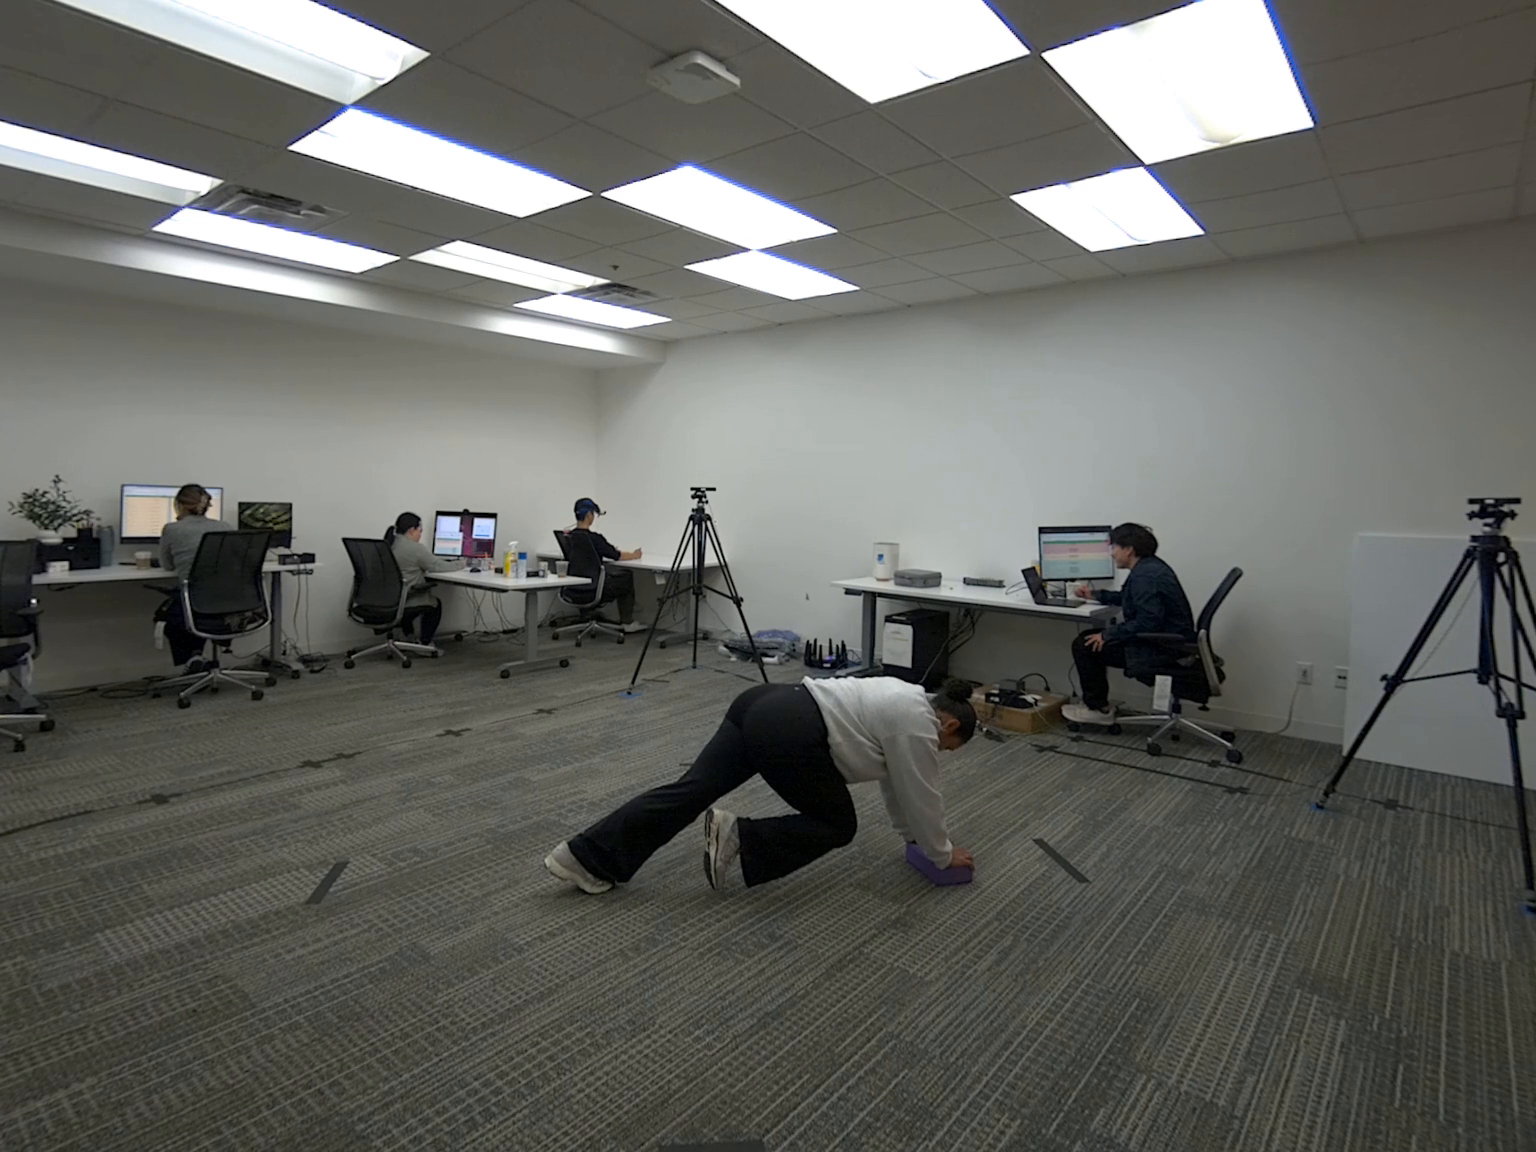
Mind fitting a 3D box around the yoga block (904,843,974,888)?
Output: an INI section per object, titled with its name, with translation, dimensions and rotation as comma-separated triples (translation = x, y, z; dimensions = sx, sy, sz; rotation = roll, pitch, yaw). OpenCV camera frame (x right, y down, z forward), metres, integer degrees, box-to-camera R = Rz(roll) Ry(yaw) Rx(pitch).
[yoga block]
translation = 0.625, 1.054, 3.139
dimensions = 0.146, 0.076, 0.234
rotation = -1, 6, -19
